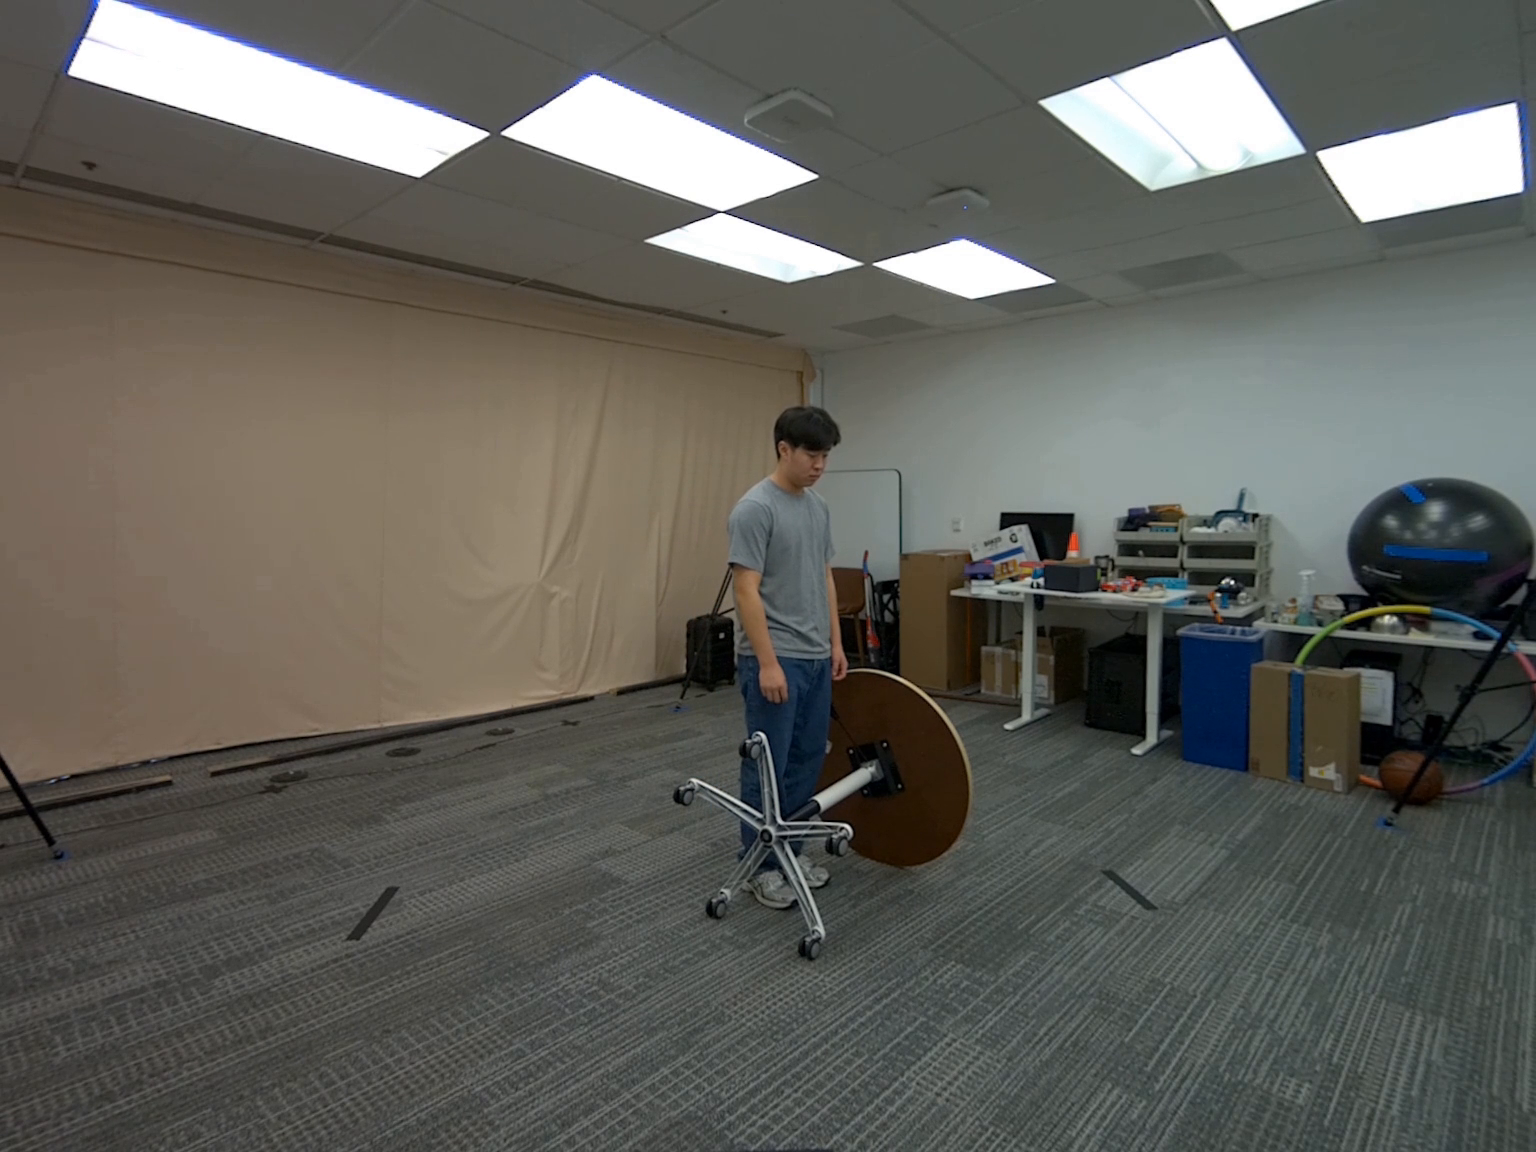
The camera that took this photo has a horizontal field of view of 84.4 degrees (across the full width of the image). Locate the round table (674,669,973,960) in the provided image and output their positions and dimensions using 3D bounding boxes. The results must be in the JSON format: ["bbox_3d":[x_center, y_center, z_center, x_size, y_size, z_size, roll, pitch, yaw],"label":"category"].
[{"bbox_3d":[0.199,0.806,2.957,0.789,0.760,0.773,3,11,40],"label":"round table"}]
